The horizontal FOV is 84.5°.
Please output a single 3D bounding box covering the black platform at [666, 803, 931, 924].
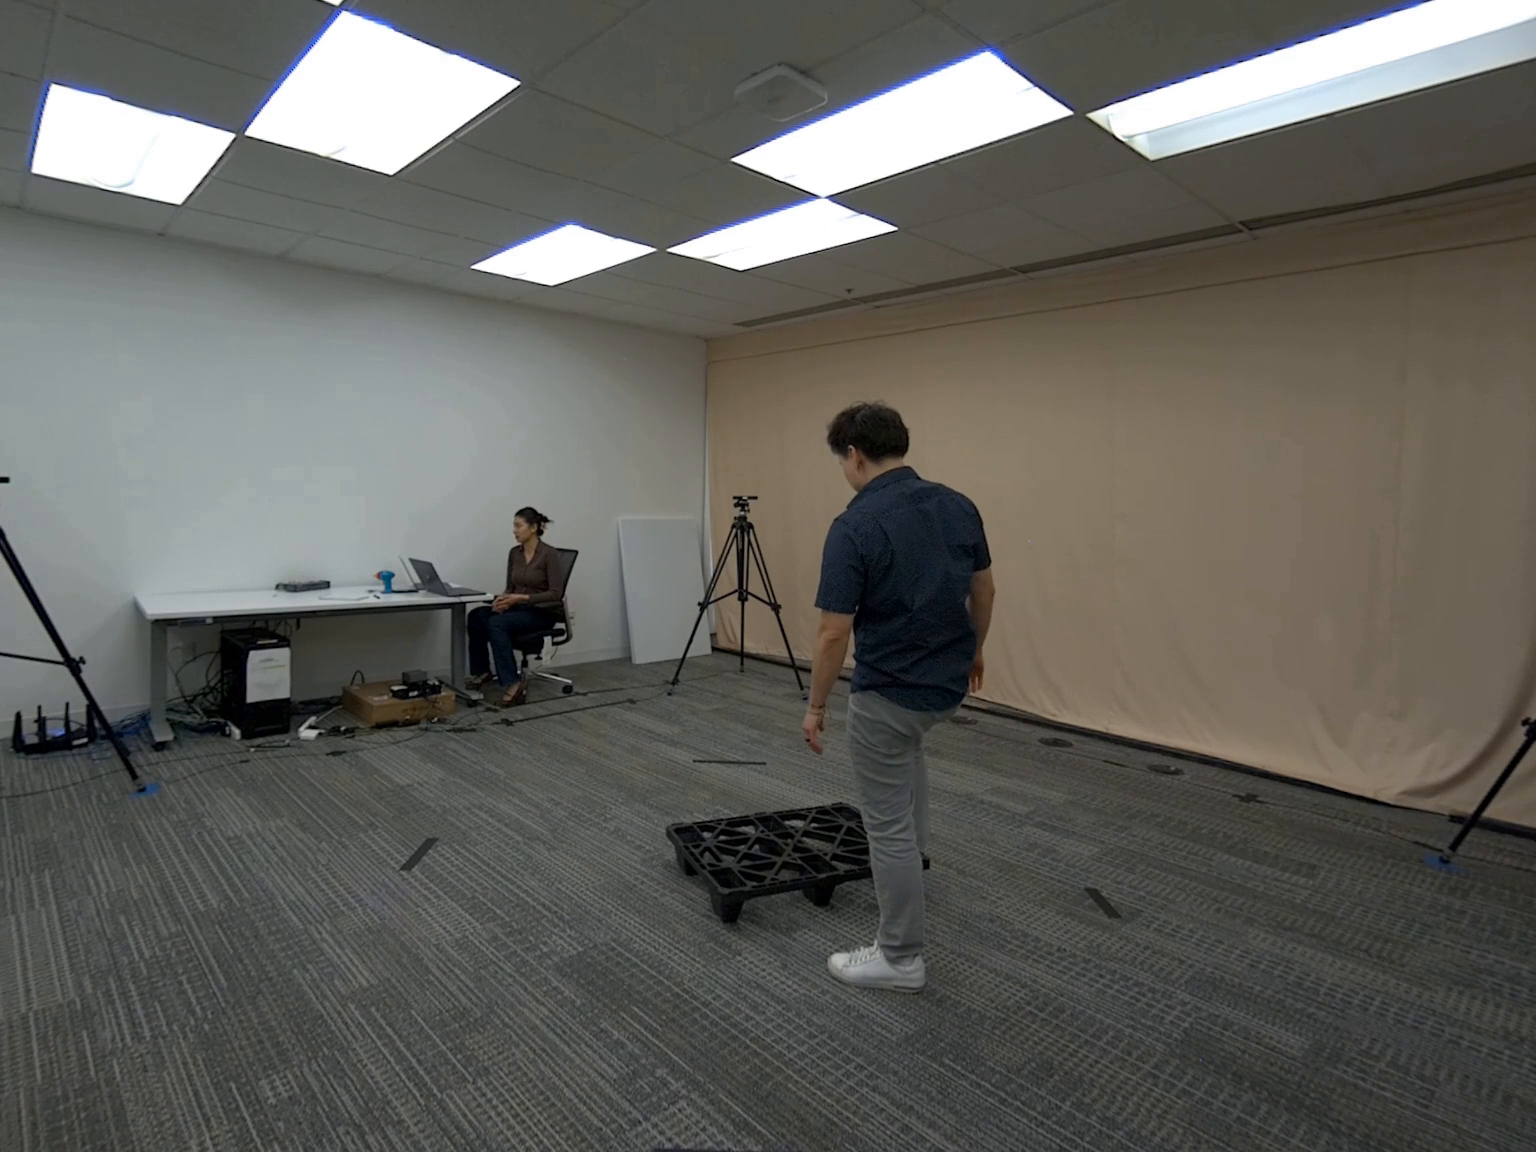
[{"bbox_3d":[0.090,1.042,3.091,0.792,0.143,0.617,-1,6,-23],"label":"black platform"}]
